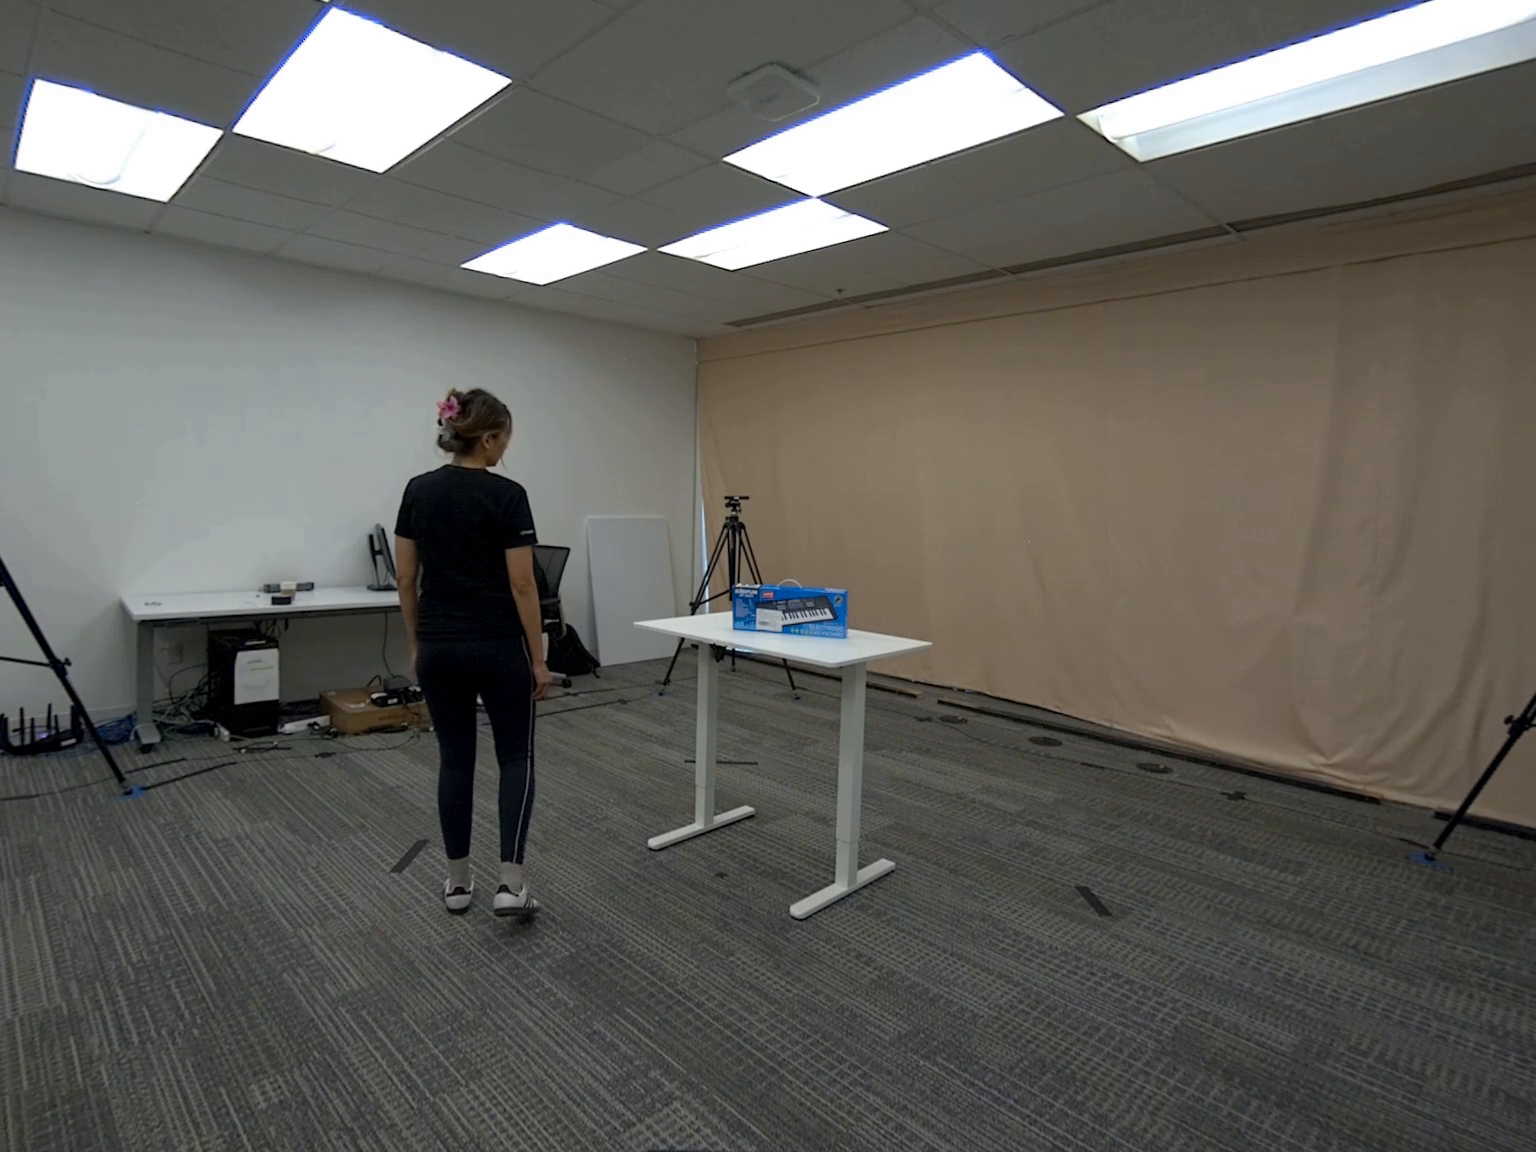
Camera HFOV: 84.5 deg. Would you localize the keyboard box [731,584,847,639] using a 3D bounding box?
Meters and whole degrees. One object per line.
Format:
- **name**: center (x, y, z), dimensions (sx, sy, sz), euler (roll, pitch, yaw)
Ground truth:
- **keyboard box**: center (0.078, 0.132, 3.182), dimensions (0.443, 0.174, 0.059), euler (4, 11, 18)
